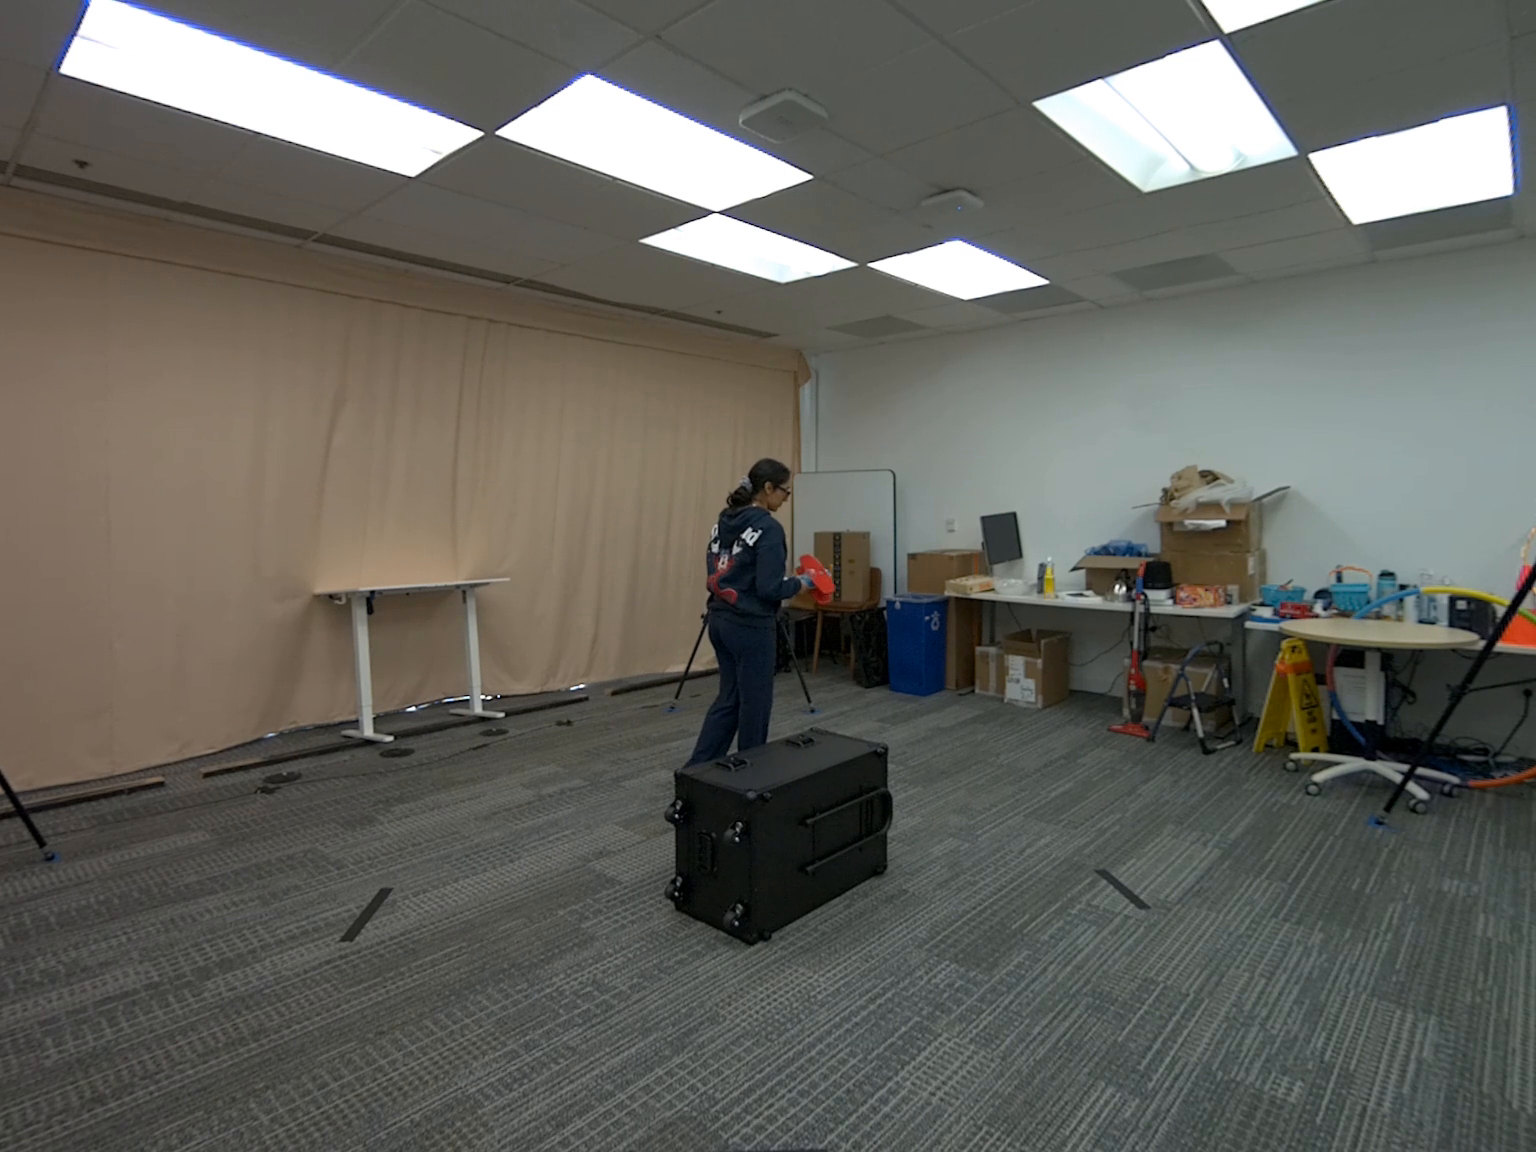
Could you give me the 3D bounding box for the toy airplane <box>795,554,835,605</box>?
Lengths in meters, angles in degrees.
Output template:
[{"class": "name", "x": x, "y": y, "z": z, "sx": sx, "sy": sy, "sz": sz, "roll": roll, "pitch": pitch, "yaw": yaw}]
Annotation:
[{"class": "toy airplane", "x": 0.214, "y": 0.042, "z": 4.024, "sx": 0.255, "sy": 0.156, "sz": 0.255, "roll": 38, "pitch": 36, "yaw": 12}]
